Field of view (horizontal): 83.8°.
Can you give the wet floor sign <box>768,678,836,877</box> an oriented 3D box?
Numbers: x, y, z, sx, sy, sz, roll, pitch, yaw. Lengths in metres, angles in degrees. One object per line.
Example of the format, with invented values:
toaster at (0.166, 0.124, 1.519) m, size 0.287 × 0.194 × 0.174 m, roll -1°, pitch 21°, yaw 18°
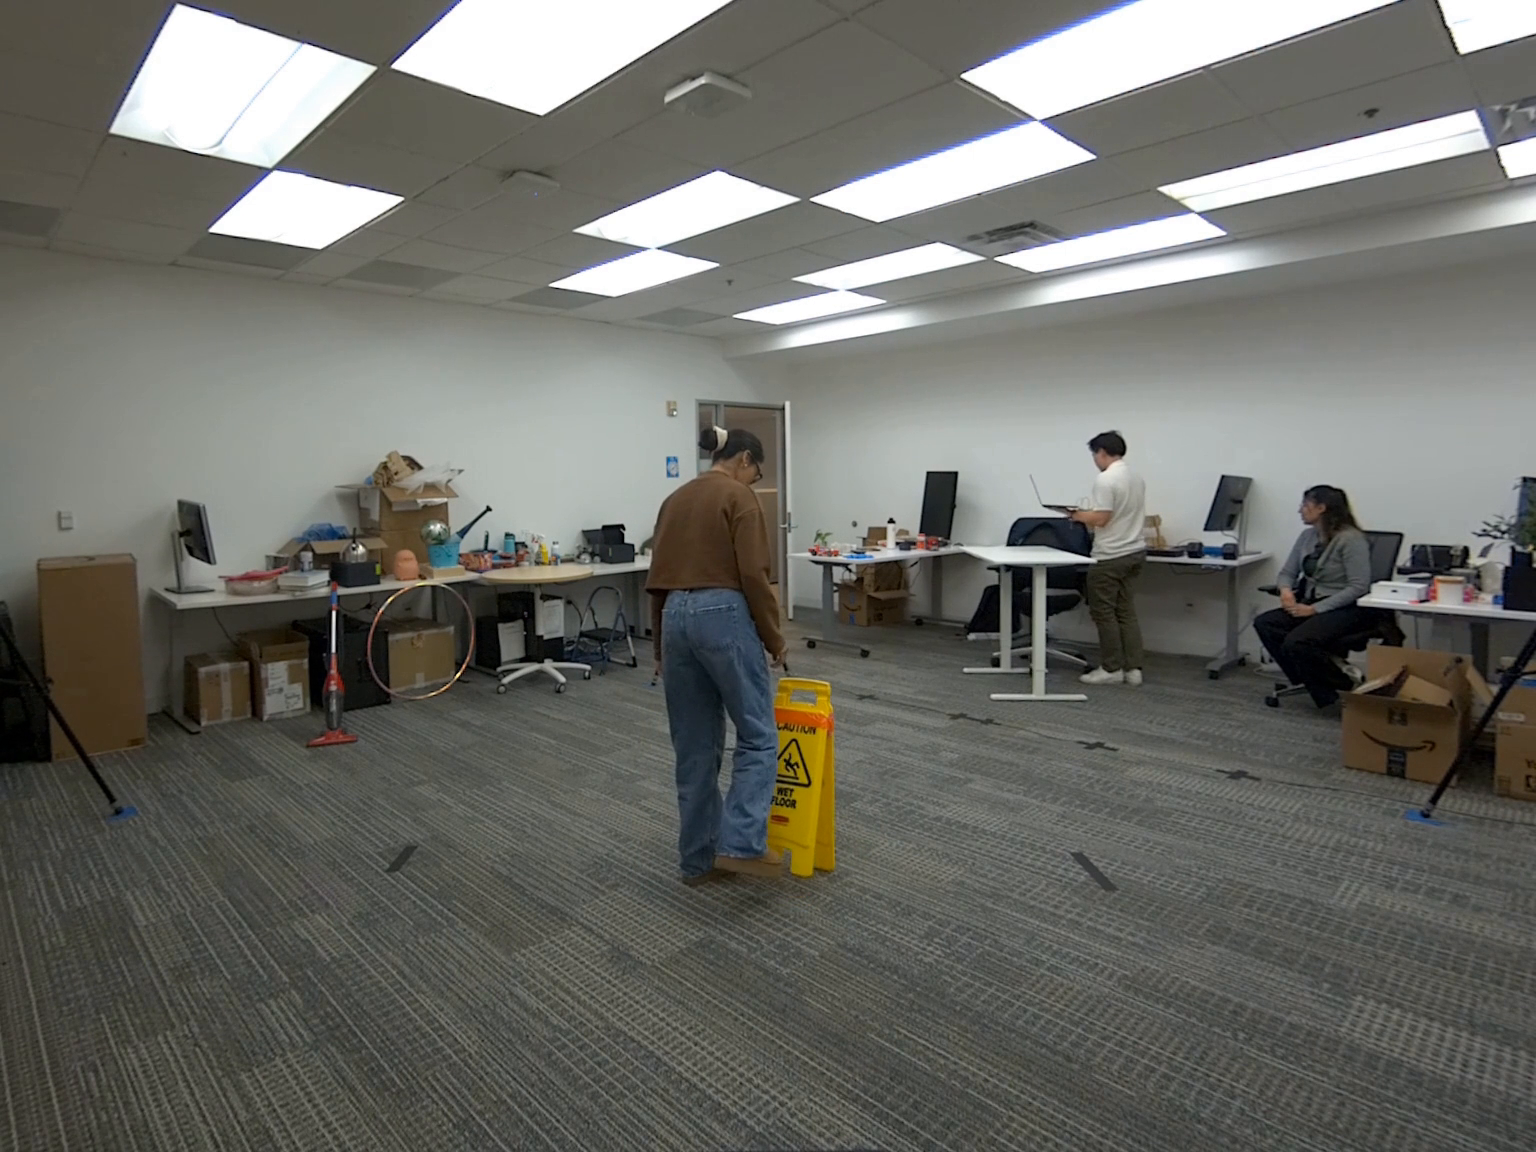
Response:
wet floor sign at (0.092, 0.698, 3.057) m, size 0.288 × 0.653 × 0.280 m, roll 0°, pitch -14°, yaw 23°
